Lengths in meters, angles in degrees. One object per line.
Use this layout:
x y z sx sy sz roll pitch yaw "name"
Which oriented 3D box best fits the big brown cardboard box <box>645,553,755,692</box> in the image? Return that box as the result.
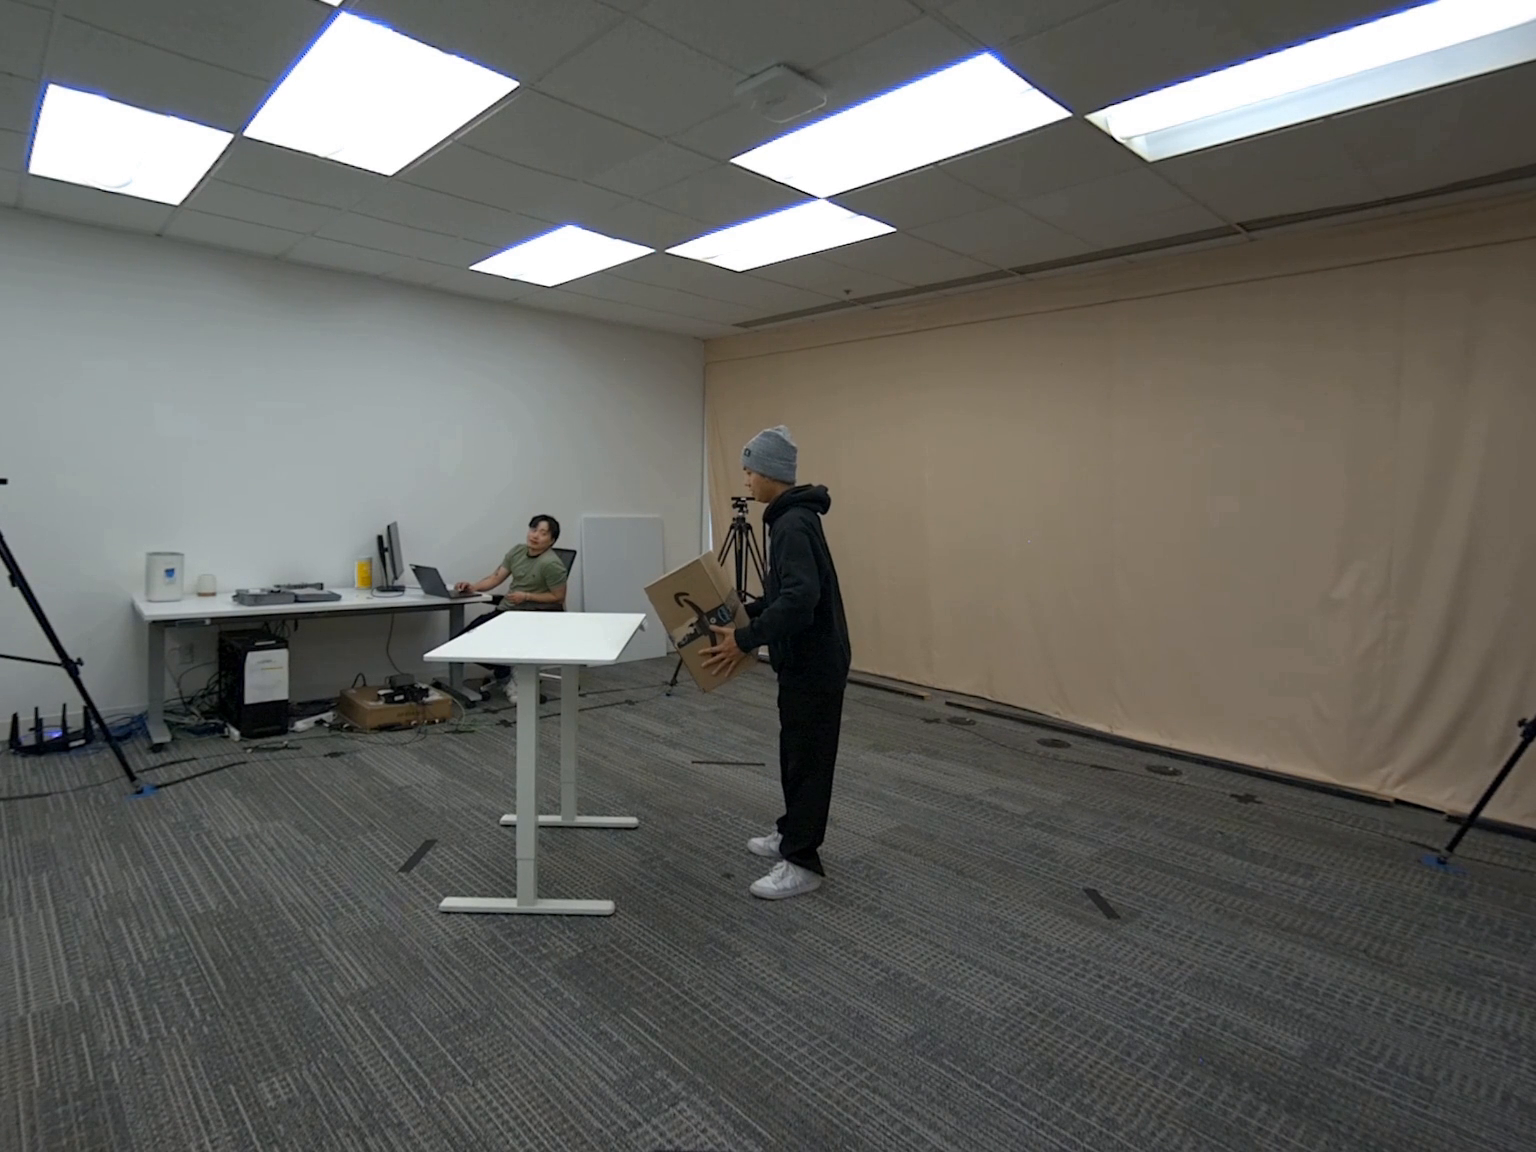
-0.224 0.149 3.122 0.233 0.417 0.589 -29 2 2 "big brown cardboard box"
